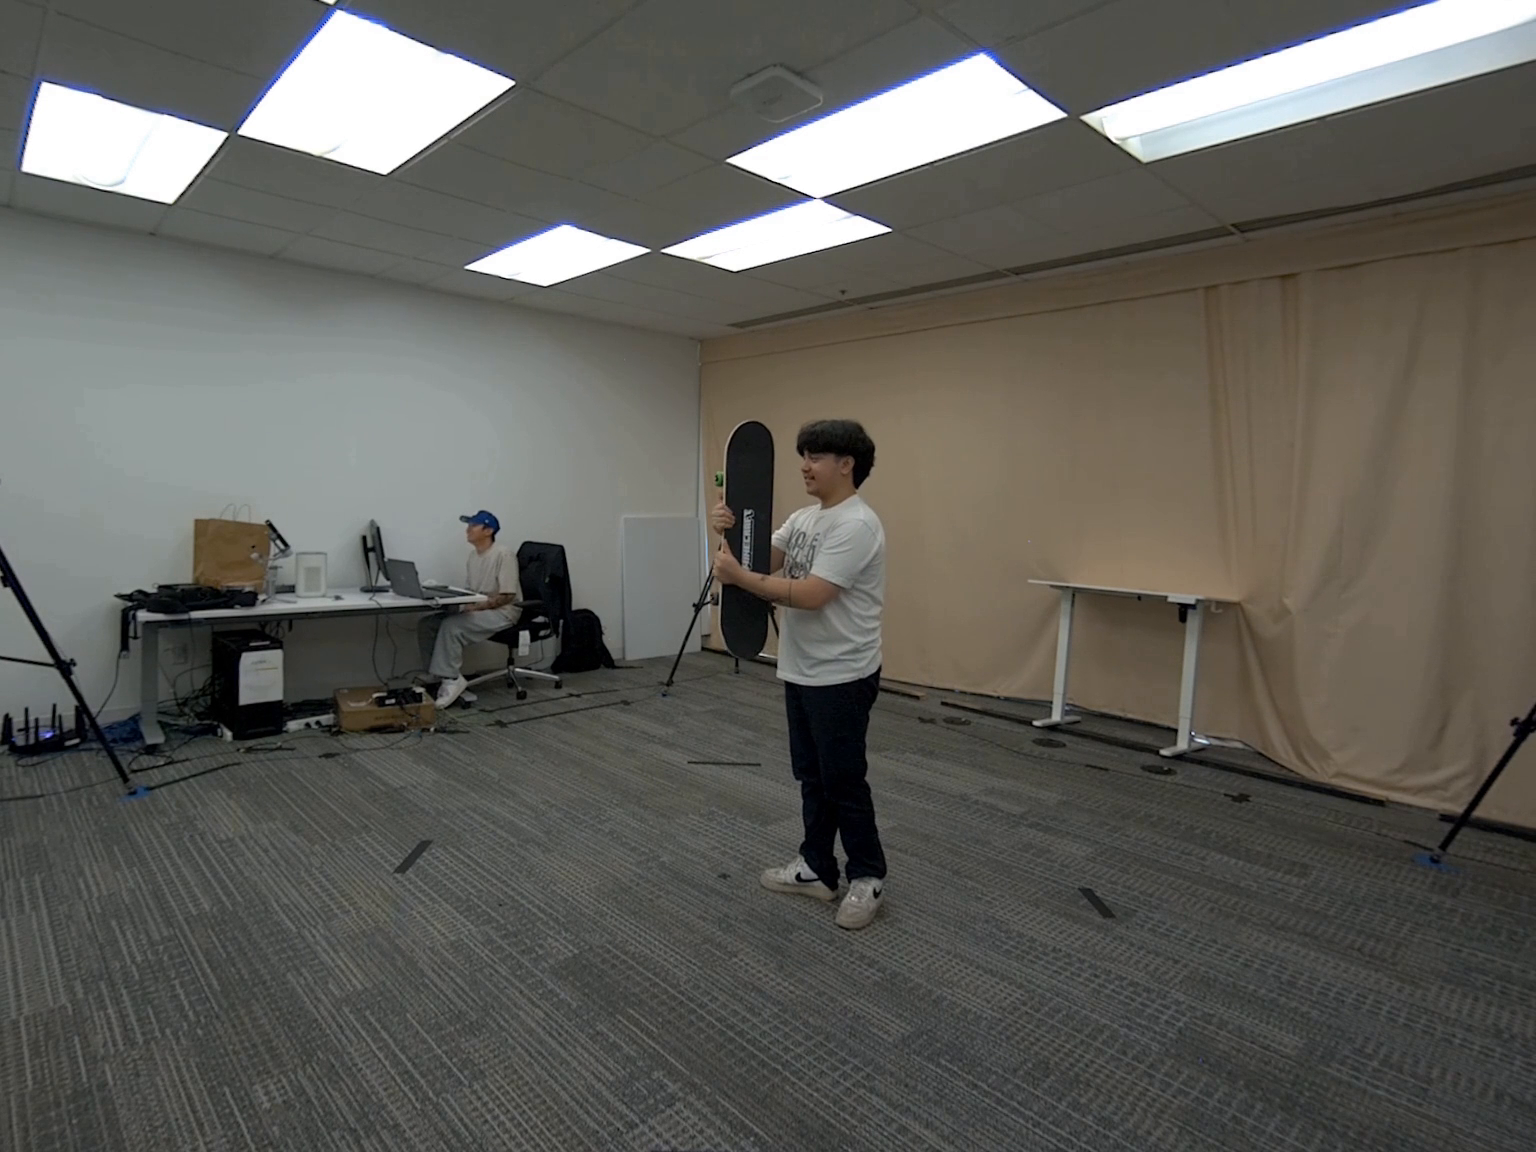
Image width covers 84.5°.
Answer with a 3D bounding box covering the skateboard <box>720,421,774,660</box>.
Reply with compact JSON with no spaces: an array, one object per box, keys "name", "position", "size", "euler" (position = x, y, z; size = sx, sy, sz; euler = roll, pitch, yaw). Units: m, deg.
[{"name":"skateboard","position":[-0.091,-0.116,2.821],"size":[0.190,0.786,0.112],"euler":[2,-1,-27]}]
